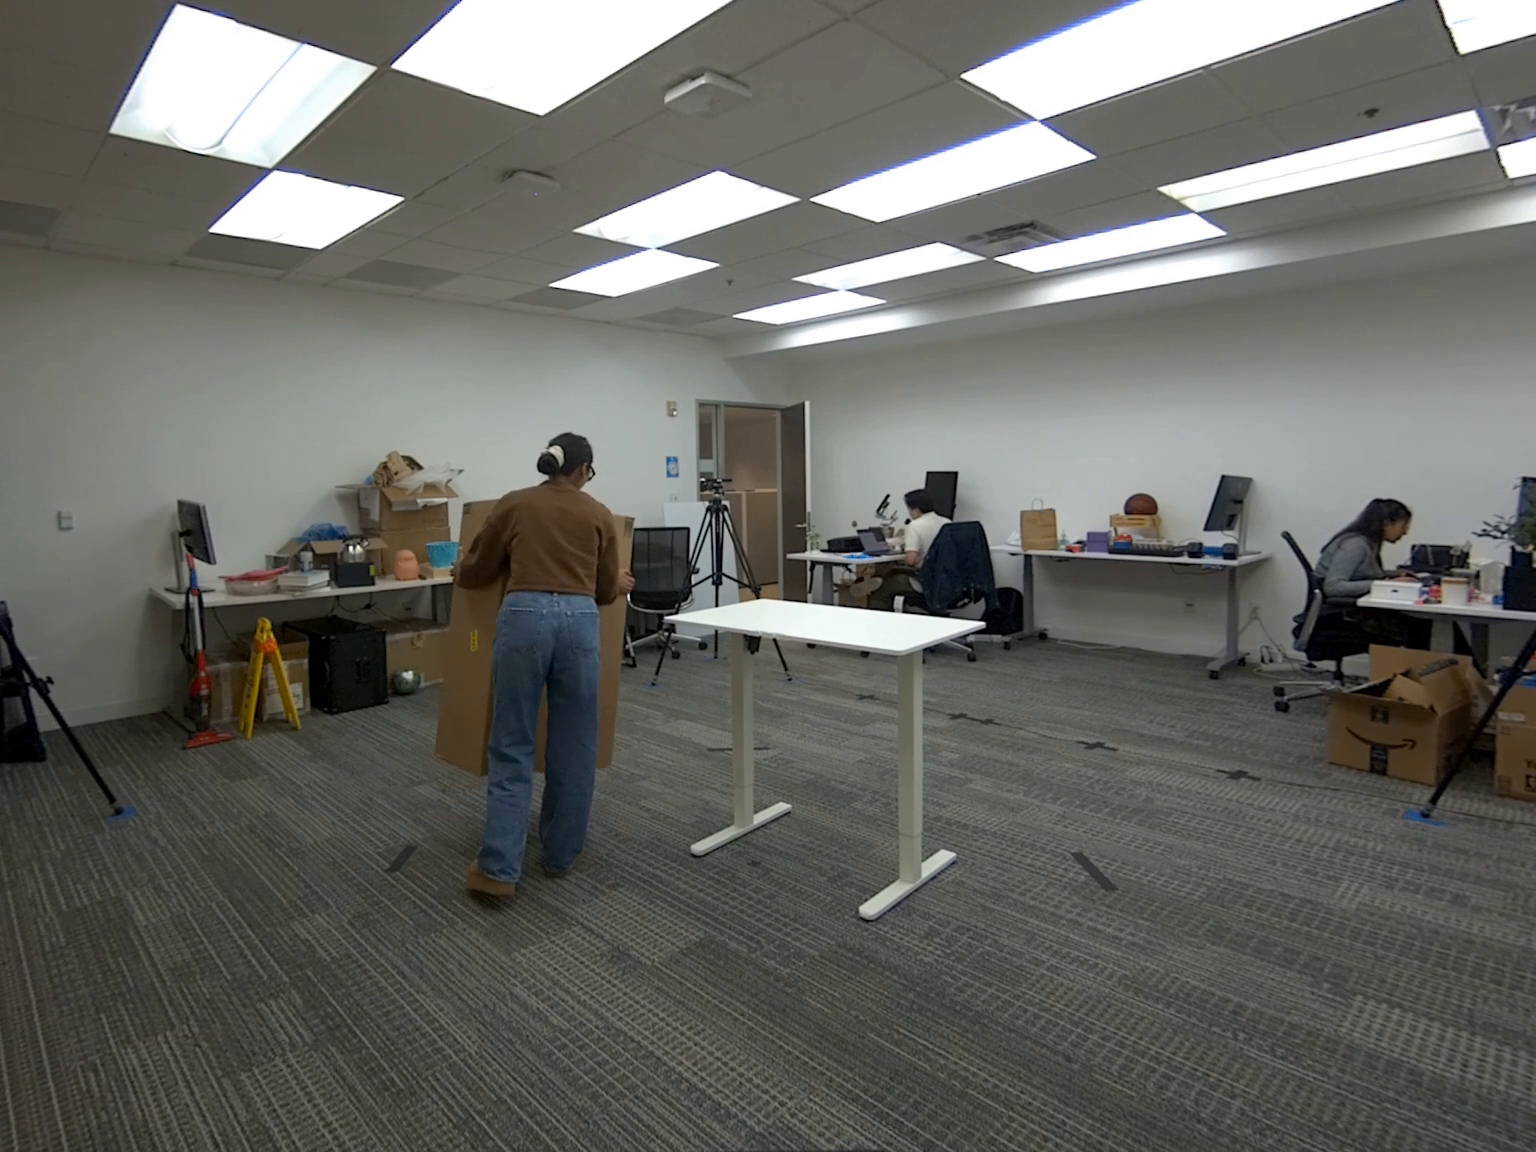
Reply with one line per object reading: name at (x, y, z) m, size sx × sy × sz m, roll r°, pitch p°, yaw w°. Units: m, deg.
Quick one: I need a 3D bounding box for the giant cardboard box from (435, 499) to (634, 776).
giant cardboard box at (-0.944, 0.244, 3.478) m, size 0.559 × 1.030 × 0.438 m, roll 8°, pitch -6°, yaw -41°
